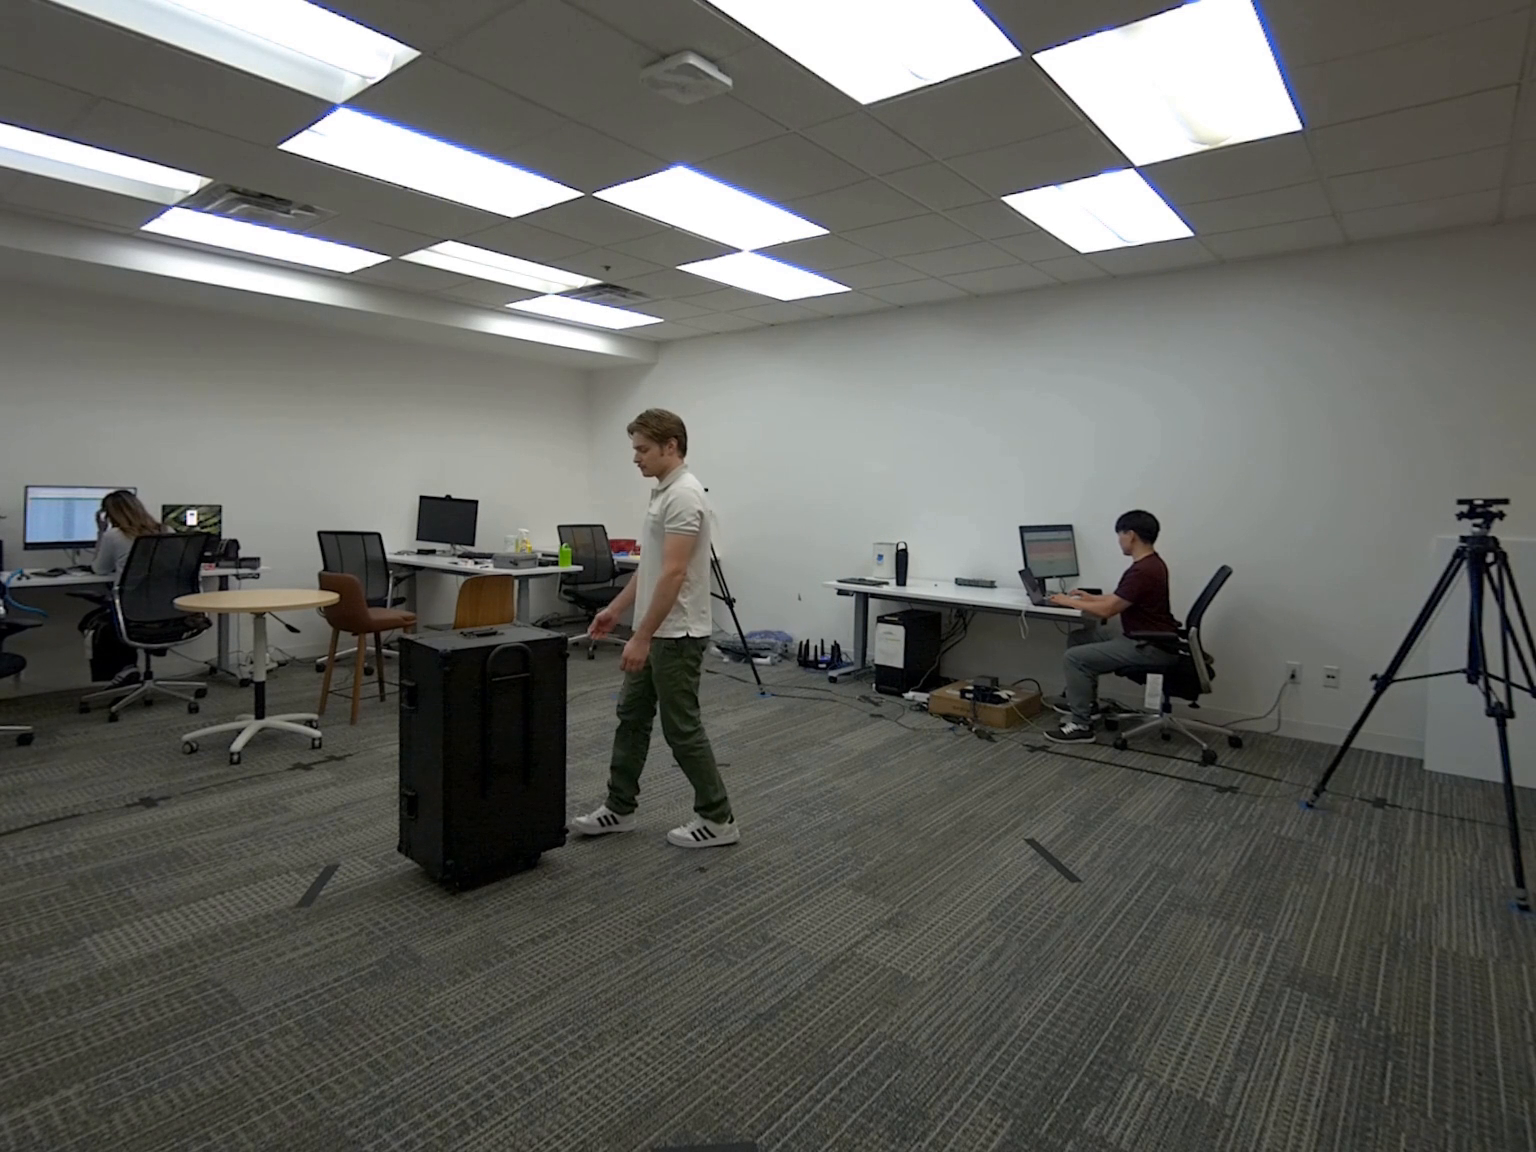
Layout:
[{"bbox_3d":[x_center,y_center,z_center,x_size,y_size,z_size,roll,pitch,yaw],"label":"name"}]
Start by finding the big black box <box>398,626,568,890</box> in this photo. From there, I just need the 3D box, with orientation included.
[{"bbox_3d":[-1.031,0.640,3.075,0.398,0.866,0.507,5,5,44],"label":"big black box"}]
